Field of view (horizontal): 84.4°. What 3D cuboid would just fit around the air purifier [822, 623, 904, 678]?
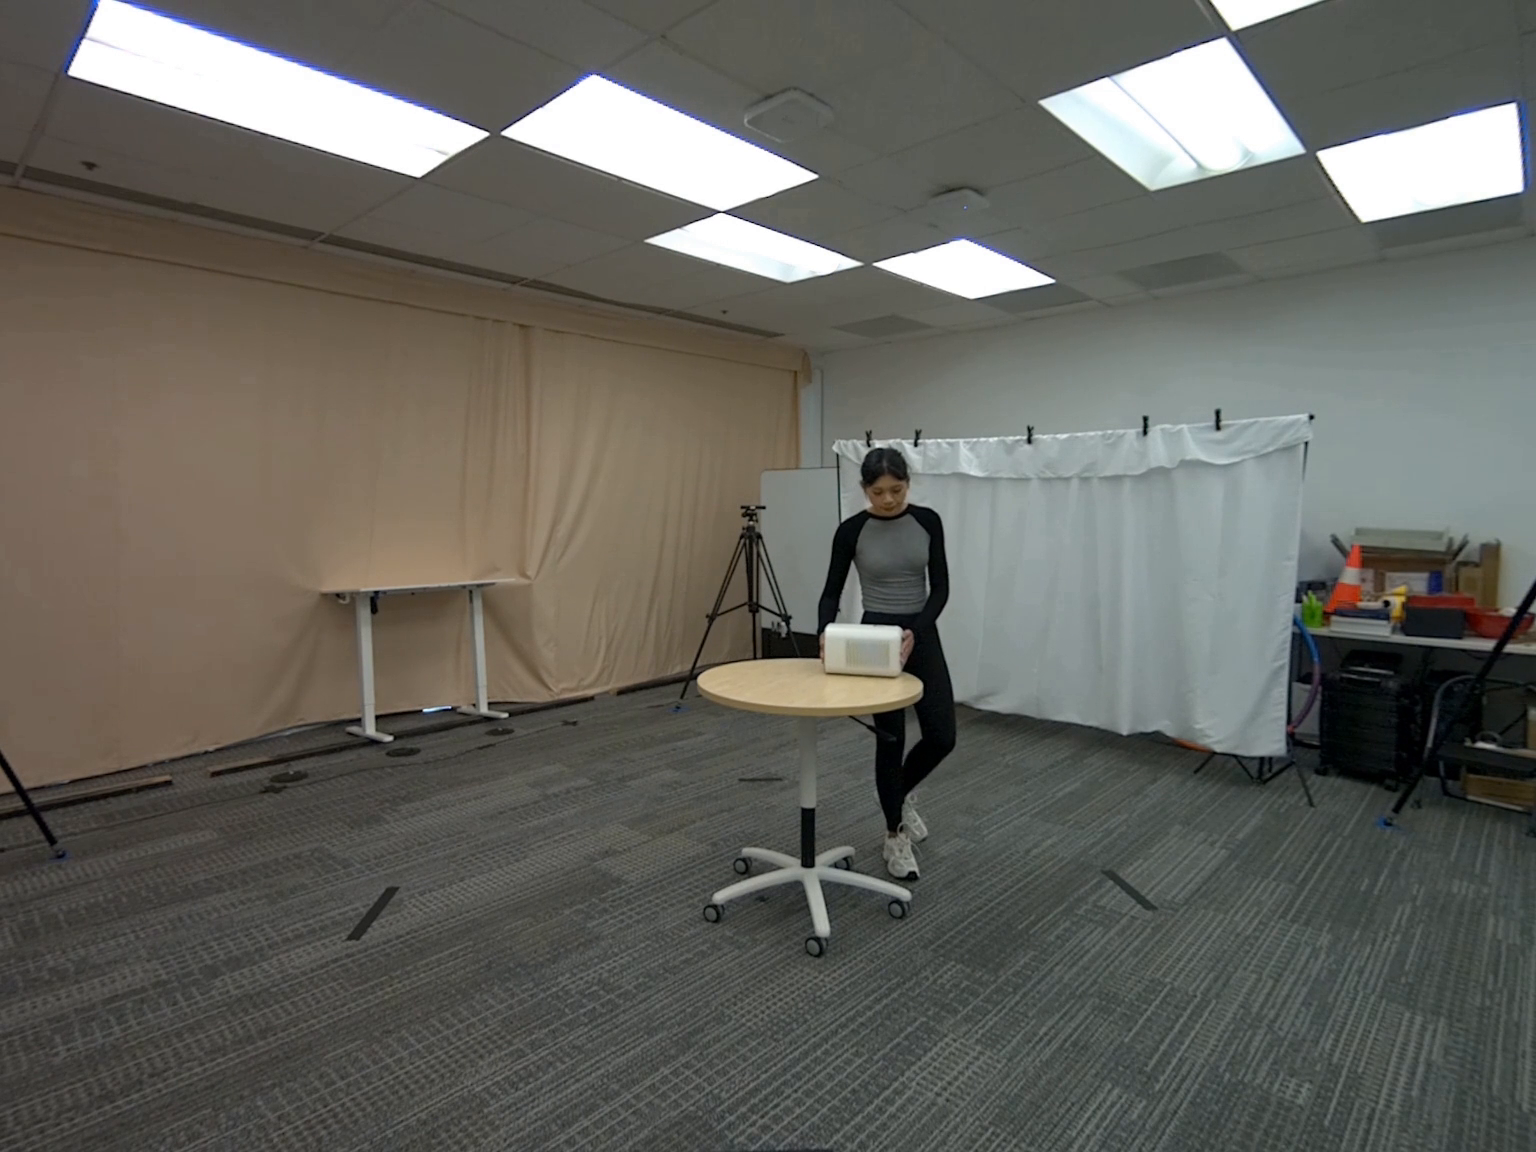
[{"bbox_3d":[0.347,0.261,2.994,0.270,0.171,0.168,2,1,14],"label":"air purifier"}]
